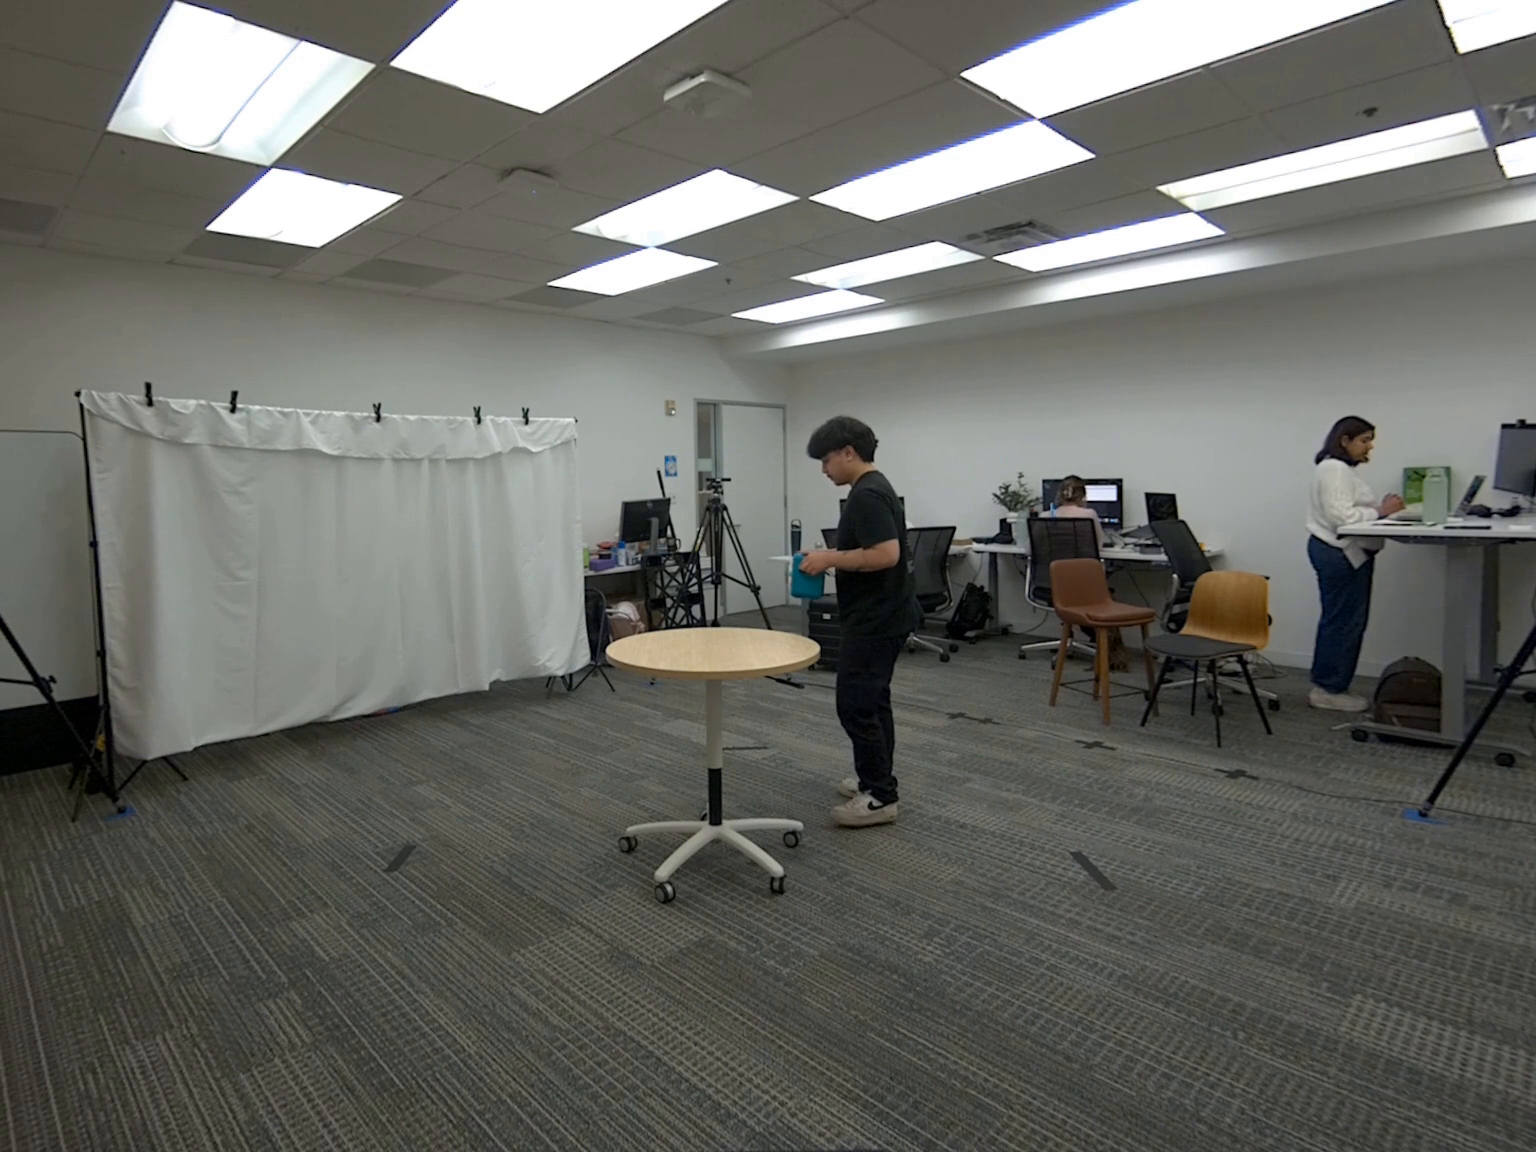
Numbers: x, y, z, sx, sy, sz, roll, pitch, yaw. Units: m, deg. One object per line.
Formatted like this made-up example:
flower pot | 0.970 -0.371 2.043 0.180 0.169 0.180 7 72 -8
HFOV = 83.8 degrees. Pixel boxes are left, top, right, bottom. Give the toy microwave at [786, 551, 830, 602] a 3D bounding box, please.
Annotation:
toy microwave | 0.172 -0.004 3.596 0.154 0.184 0.284 4 2 7
